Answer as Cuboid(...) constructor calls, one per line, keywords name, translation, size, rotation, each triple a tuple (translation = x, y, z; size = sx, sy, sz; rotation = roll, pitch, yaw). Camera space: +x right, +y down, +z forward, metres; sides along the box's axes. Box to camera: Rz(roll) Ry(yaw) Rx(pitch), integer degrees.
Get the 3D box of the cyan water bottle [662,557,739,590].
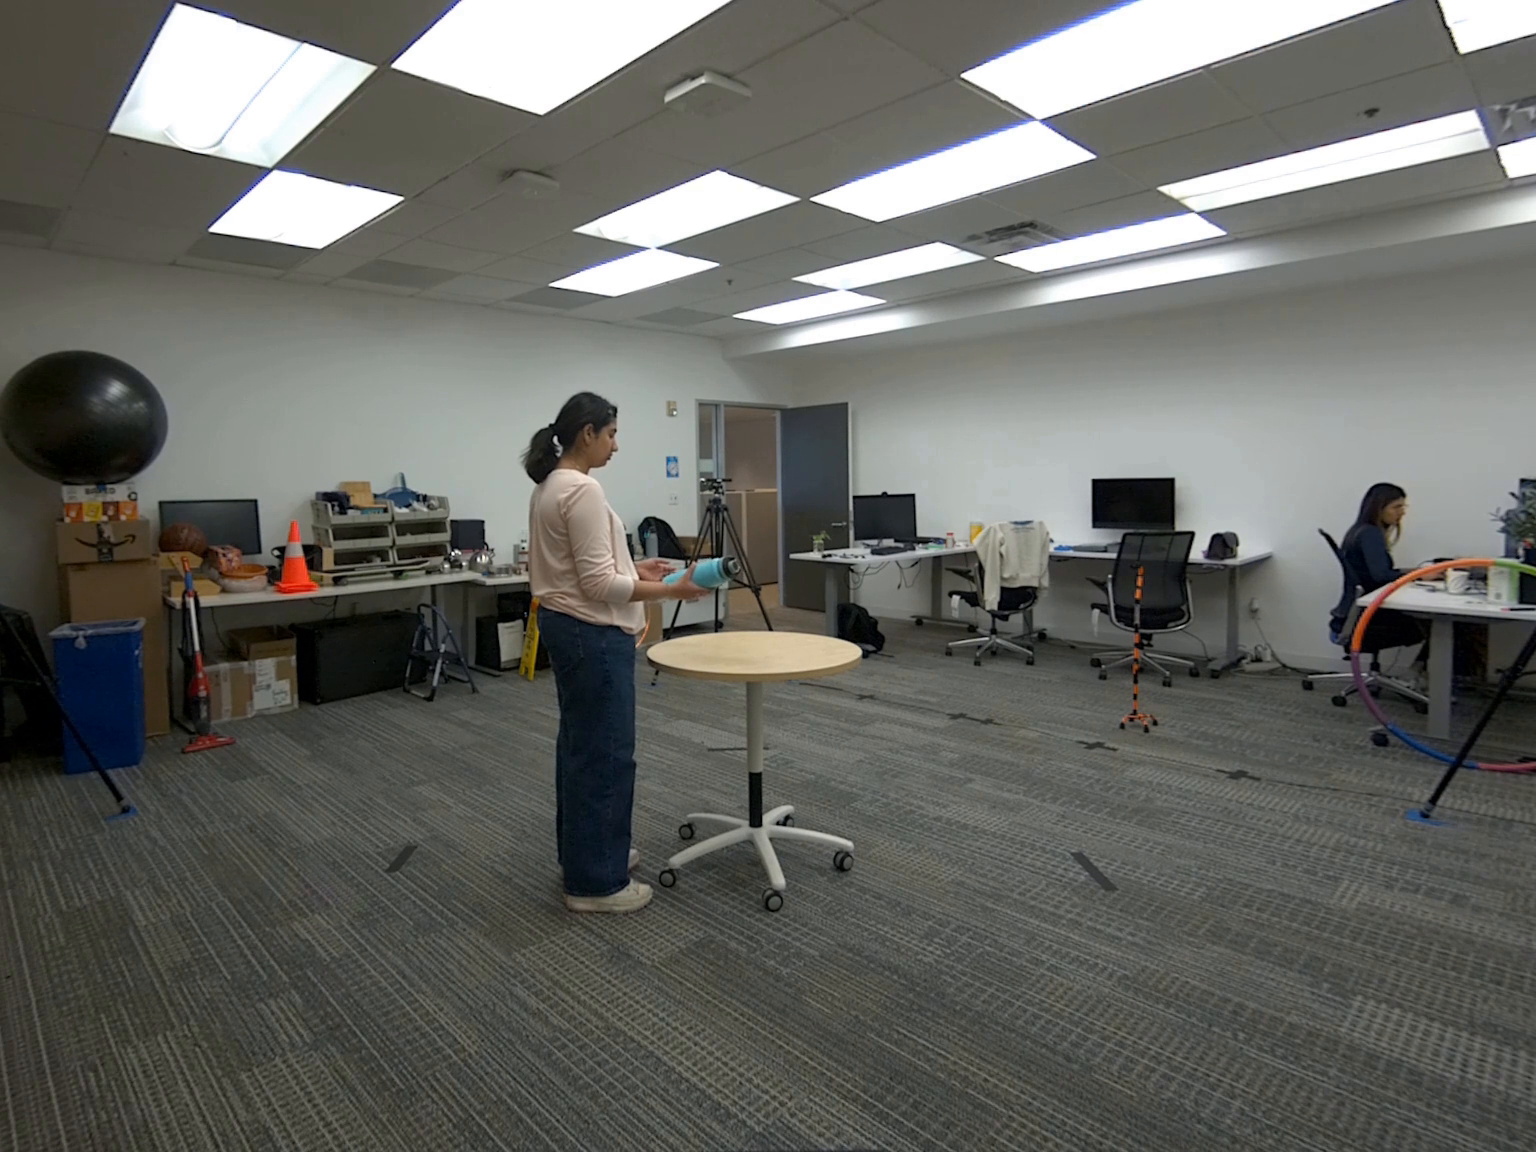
Cuboid(name="cyan water bottle", translation=(-0.217, -0.003, 2.845), size=(0.287, 0.093, 0.090), rotation=(-20, -5, 28))
